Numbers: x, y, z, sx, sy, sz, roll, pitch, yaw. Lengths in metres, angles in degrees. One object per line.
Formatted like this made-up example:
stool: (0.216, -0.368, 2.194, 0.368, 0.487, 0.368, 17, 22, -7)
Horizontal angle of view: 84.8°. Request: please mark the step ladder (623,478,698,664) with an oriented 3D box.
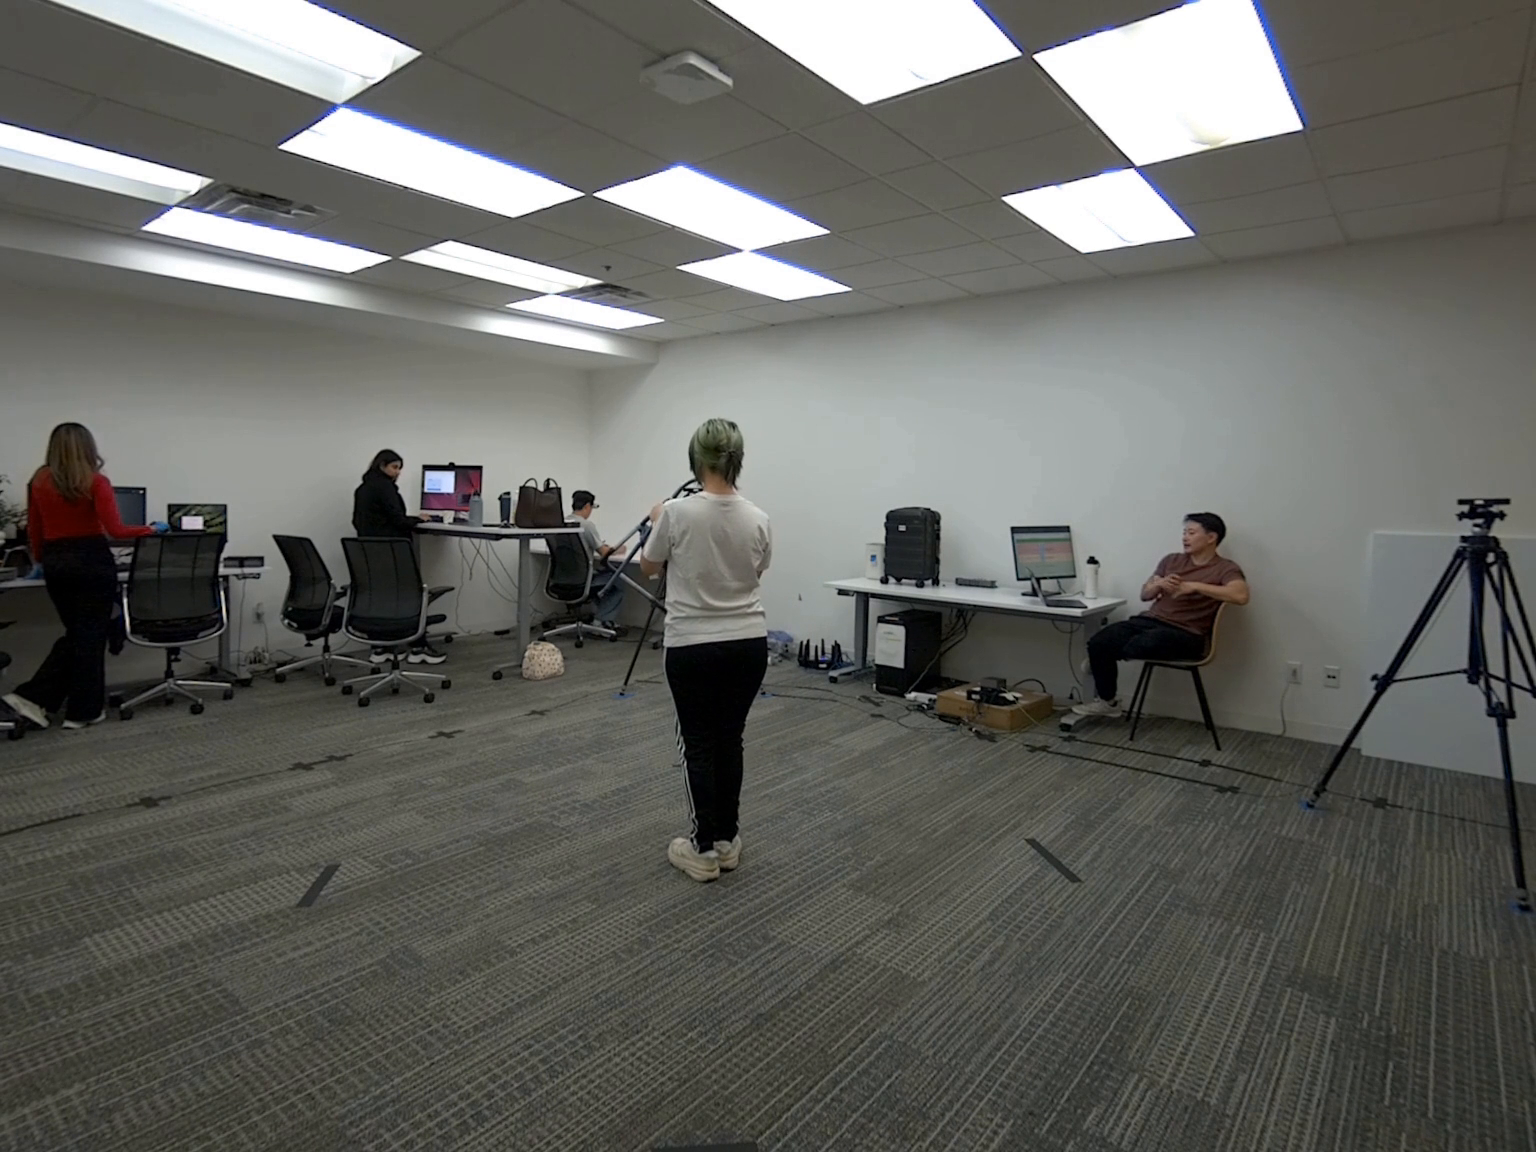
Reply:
step ladder: (-0.338, -0.087, 3.434, 0.417, 0.606, 0.360, 40, 10, -24)
